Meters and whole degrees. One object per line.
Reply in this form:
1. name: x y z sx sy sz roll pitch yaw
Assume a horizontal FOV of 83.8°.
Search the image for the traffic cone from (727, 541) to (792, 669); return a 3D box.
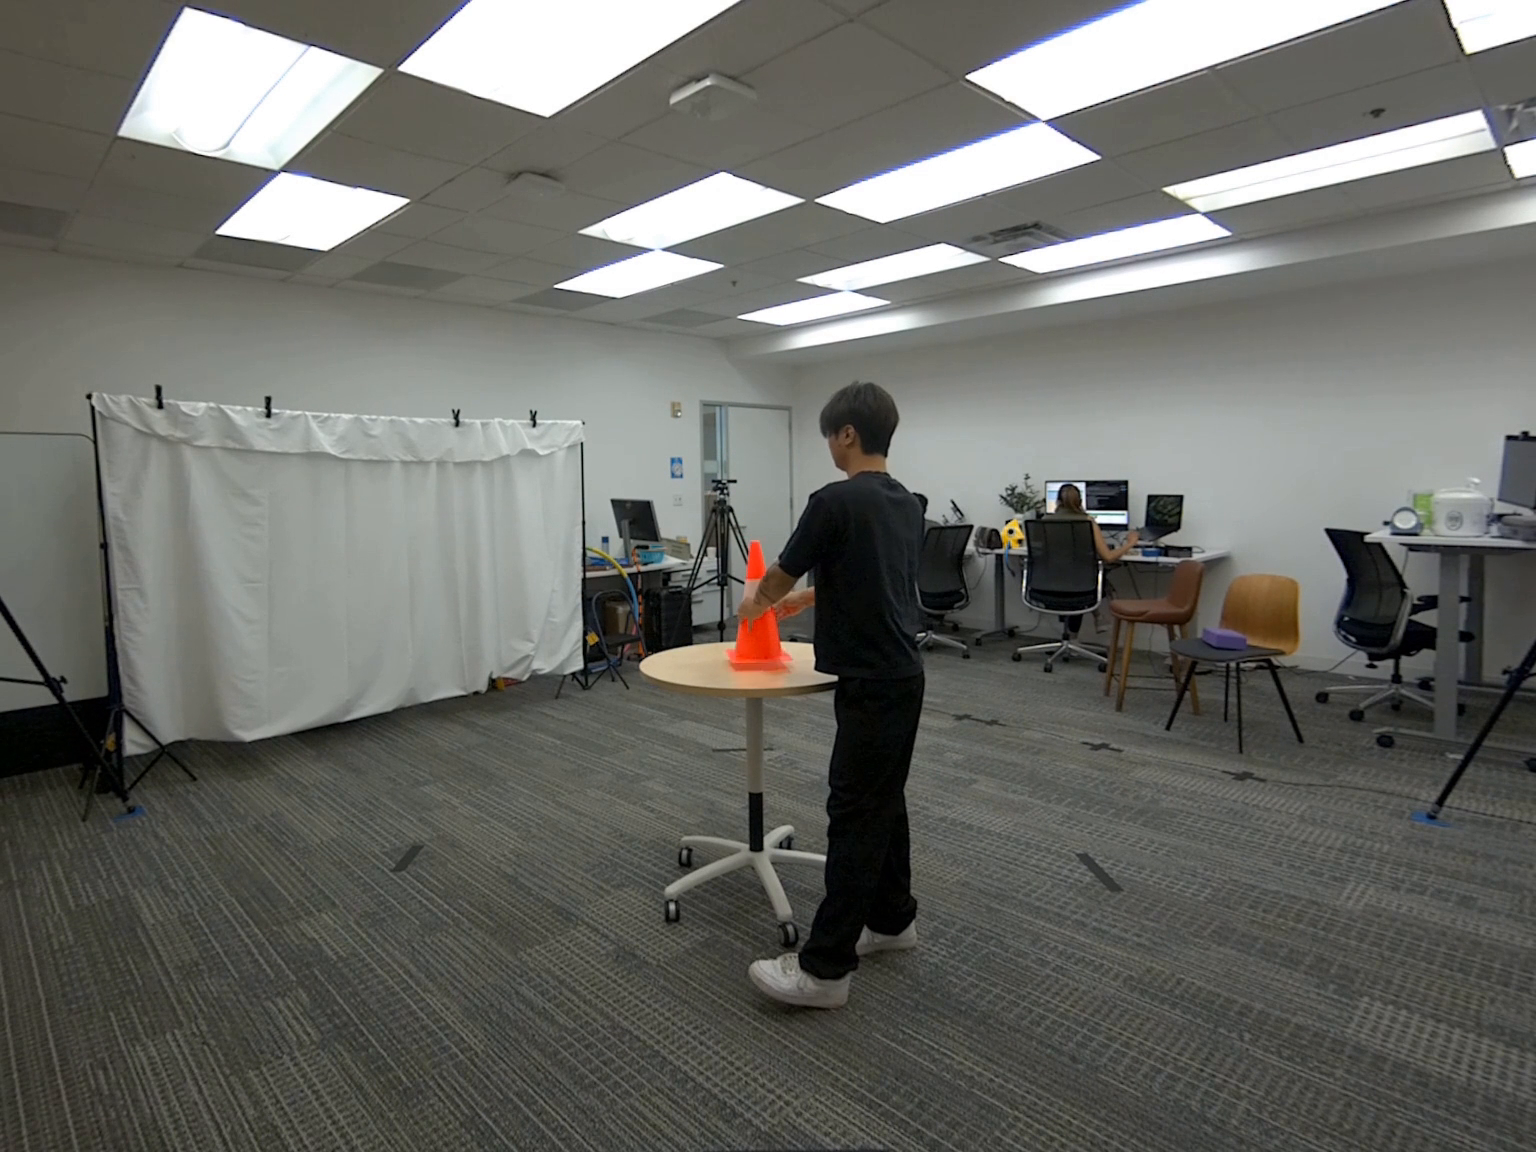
1. traffic cone: -0.037 0.073 2.819 0.211 0.382 0.198 3 7 36
